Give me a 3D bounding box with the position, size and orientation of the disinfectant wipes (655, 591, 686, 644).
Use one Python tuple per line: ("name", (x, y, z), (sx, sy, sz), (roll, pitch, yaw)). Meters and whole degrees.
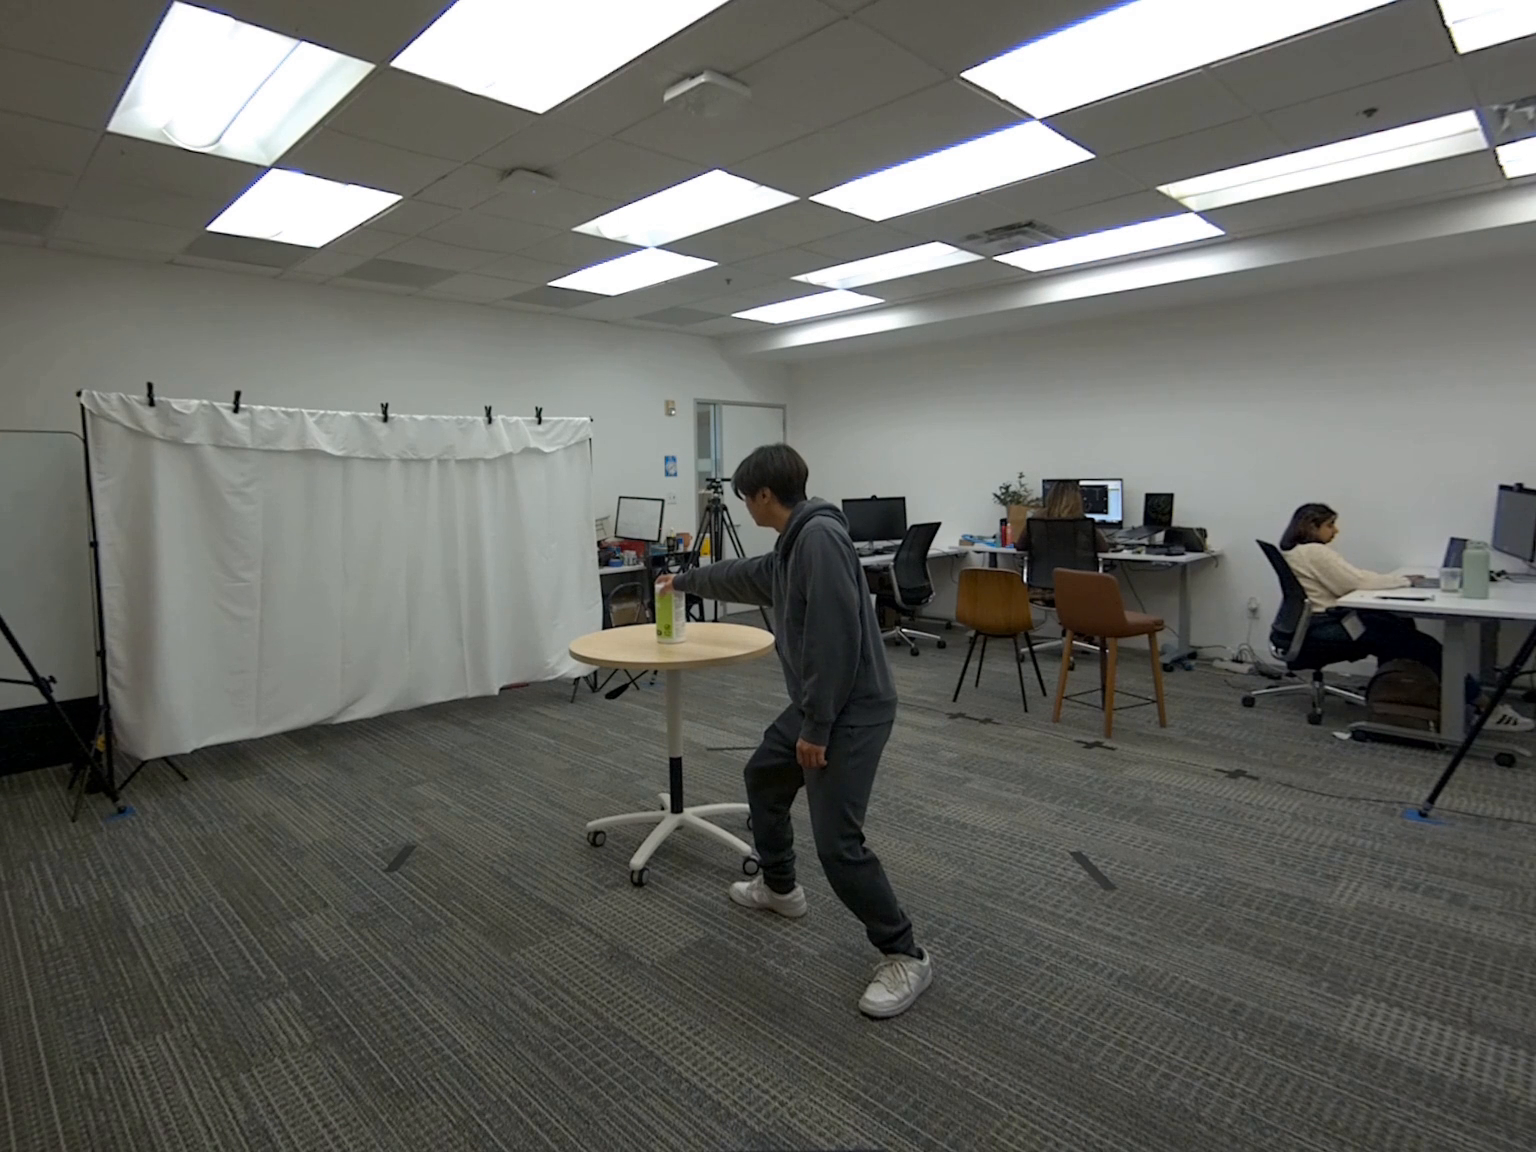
("disinfectant wipes", (-0.357, 0.137, 3.170), (0.118, 0.217, 0.118), (-1, 4, -2))
